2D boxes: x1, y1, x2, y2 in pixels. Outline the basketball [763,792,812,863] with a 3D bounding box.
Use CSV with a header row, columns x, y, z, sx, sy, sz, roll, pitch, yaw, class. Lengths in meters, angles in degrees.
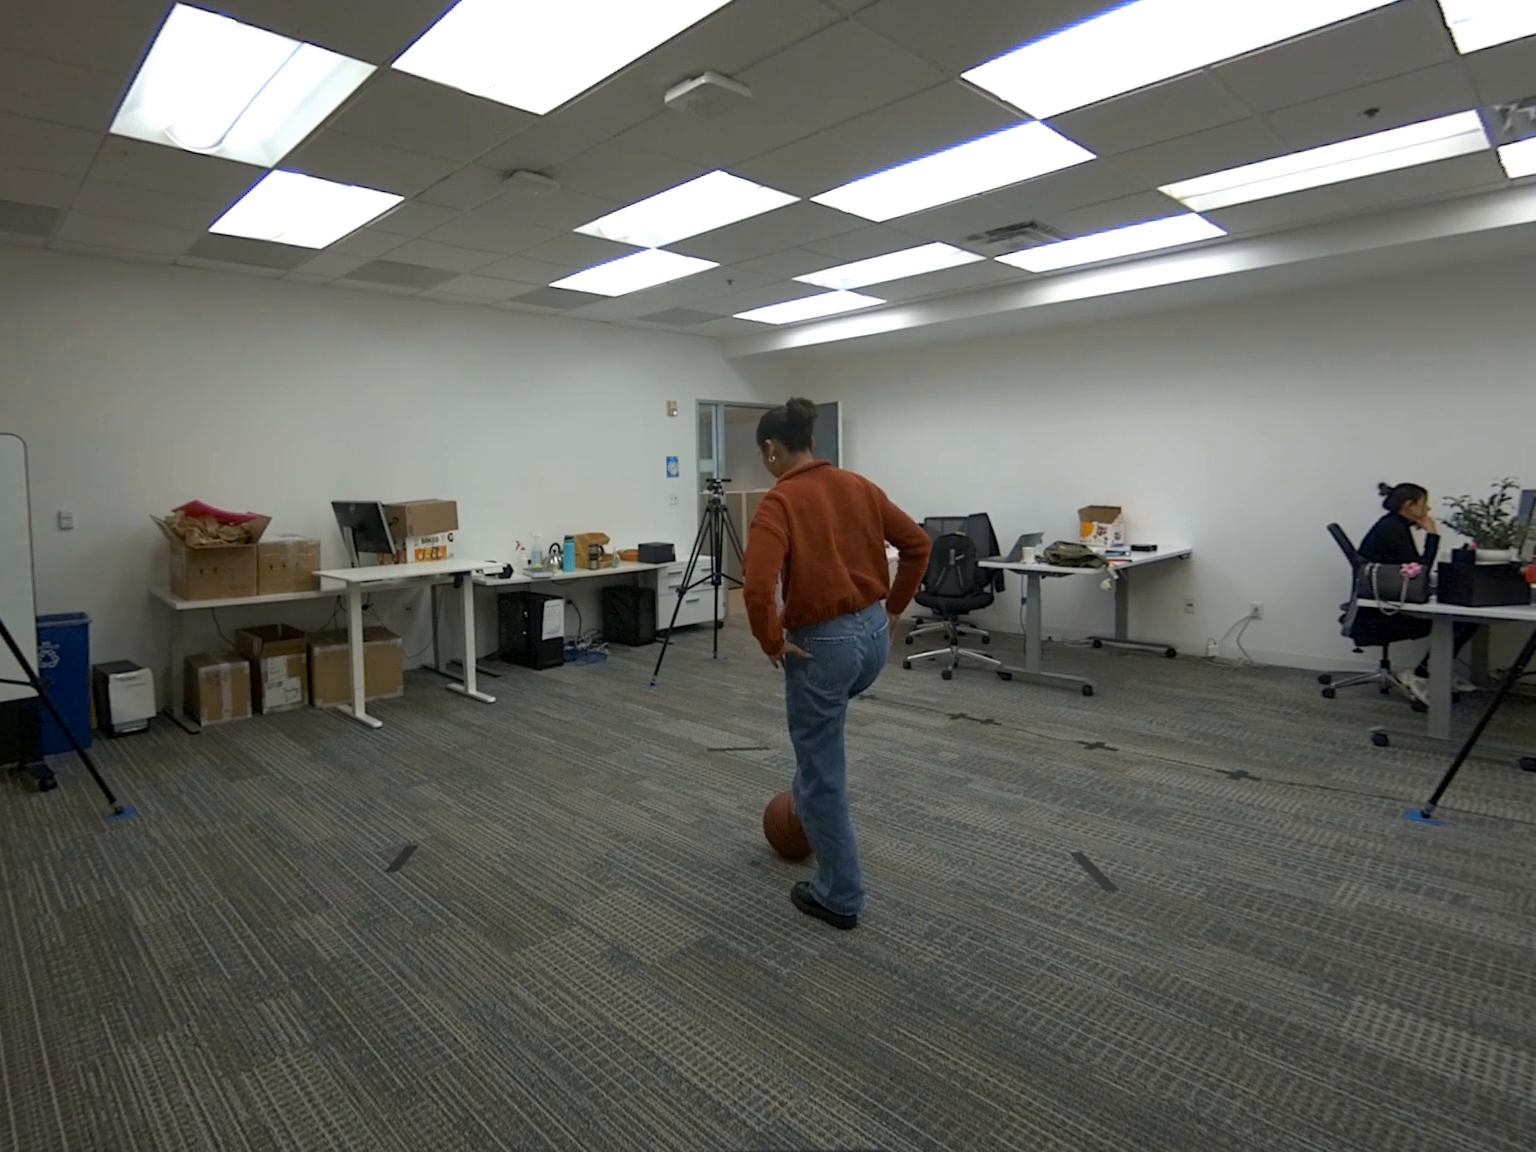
x,y,z,sx,sy,sz,roll,pitch,yaw,class
0.094,0.918,3.179,0.236,0.235,0.237,-1,5,-2,basketball
